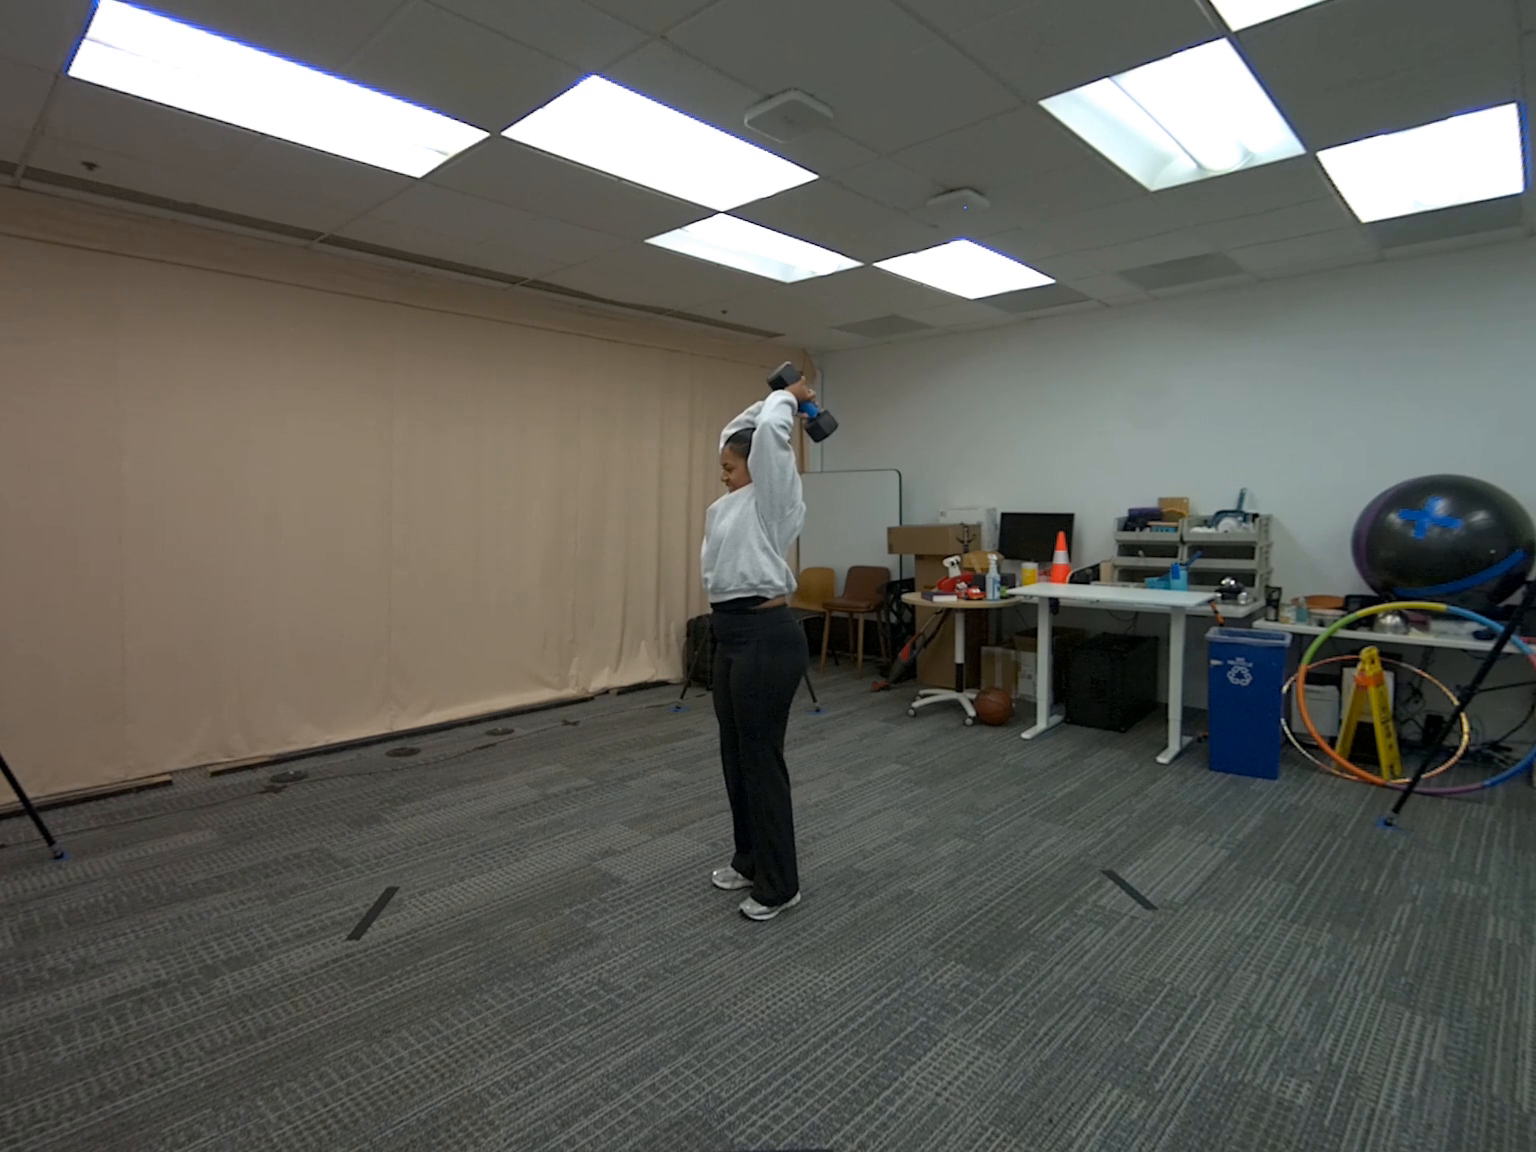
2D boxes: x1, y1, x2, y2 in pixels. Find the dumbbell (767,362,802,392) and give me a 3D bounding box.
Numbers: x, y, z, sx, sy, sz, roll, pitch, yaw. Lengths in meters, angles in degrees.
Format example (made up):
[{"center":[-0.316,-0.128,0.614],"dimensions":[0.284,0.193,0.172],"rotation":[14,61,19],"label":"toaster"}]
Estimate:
[{"center":[0.120,-0.615,2.979],"dimensions":[0.125,0.289,0.108],"rotation":[-31,17,37],"label":"dumbbell"}]
